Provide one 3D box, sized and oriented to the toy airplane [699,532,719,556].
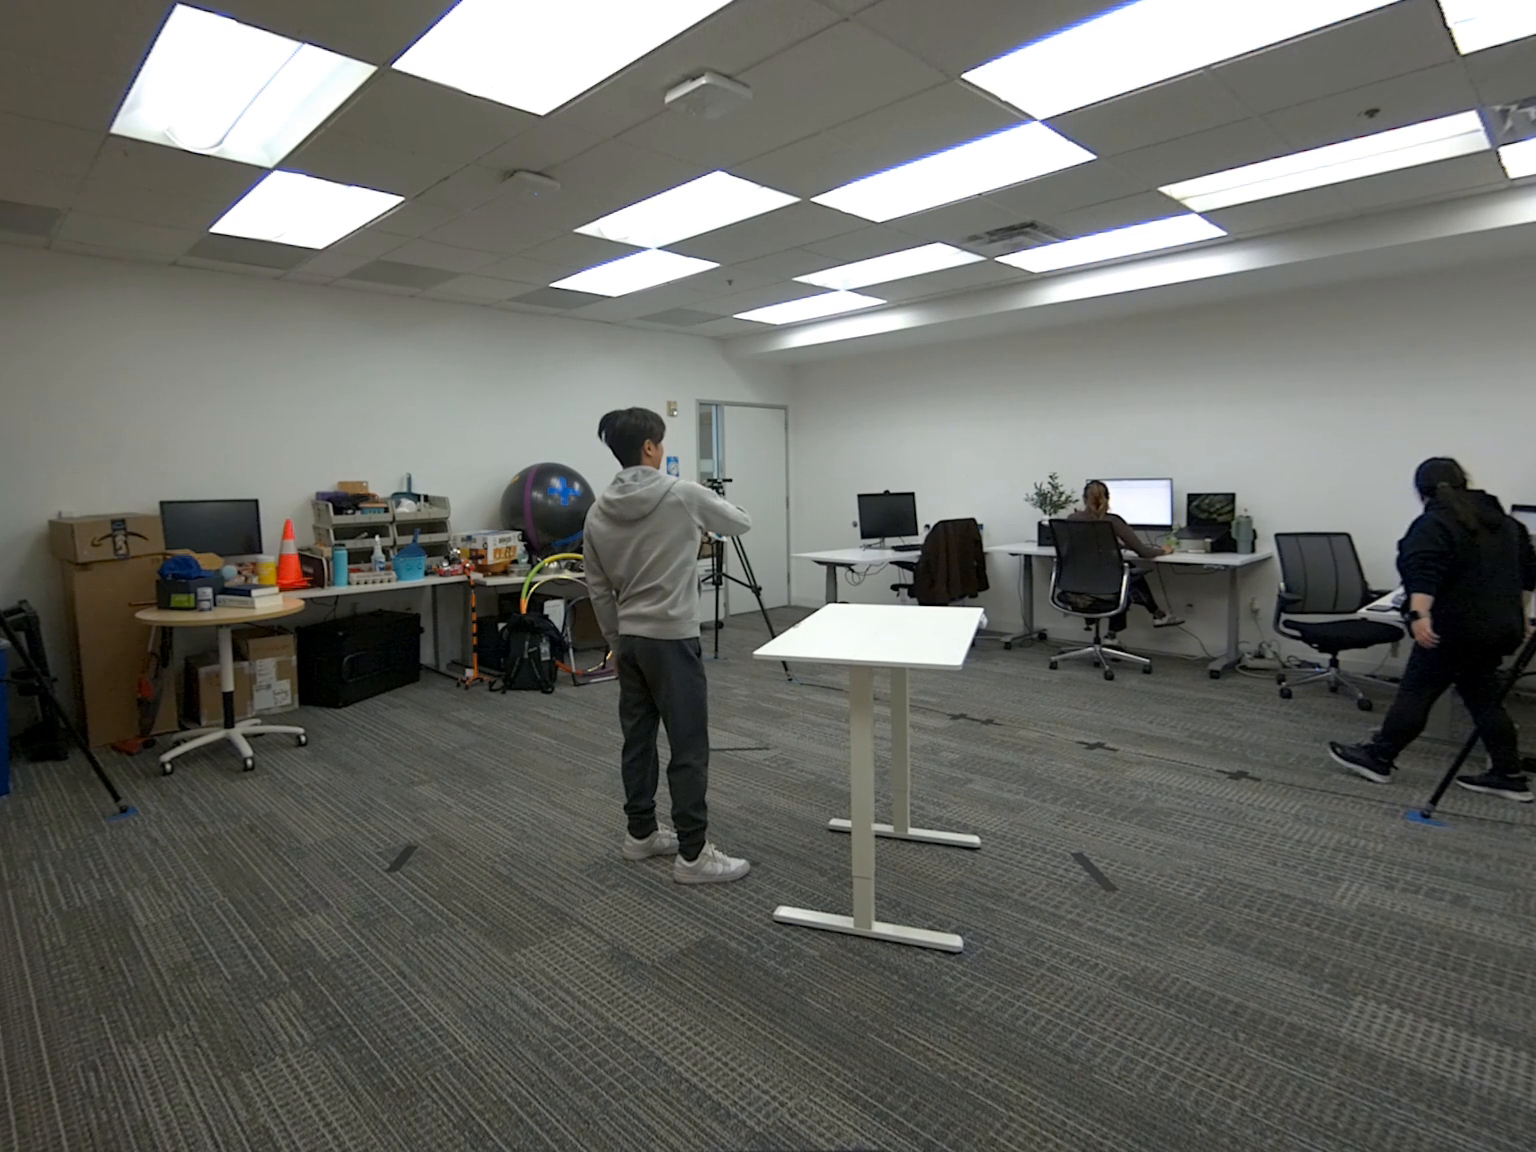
[{"bbox_3d":[-0.243,-0.251,3.548,0.260,0.156,0.250,38,14,2],"label":"toy airplane"}]
